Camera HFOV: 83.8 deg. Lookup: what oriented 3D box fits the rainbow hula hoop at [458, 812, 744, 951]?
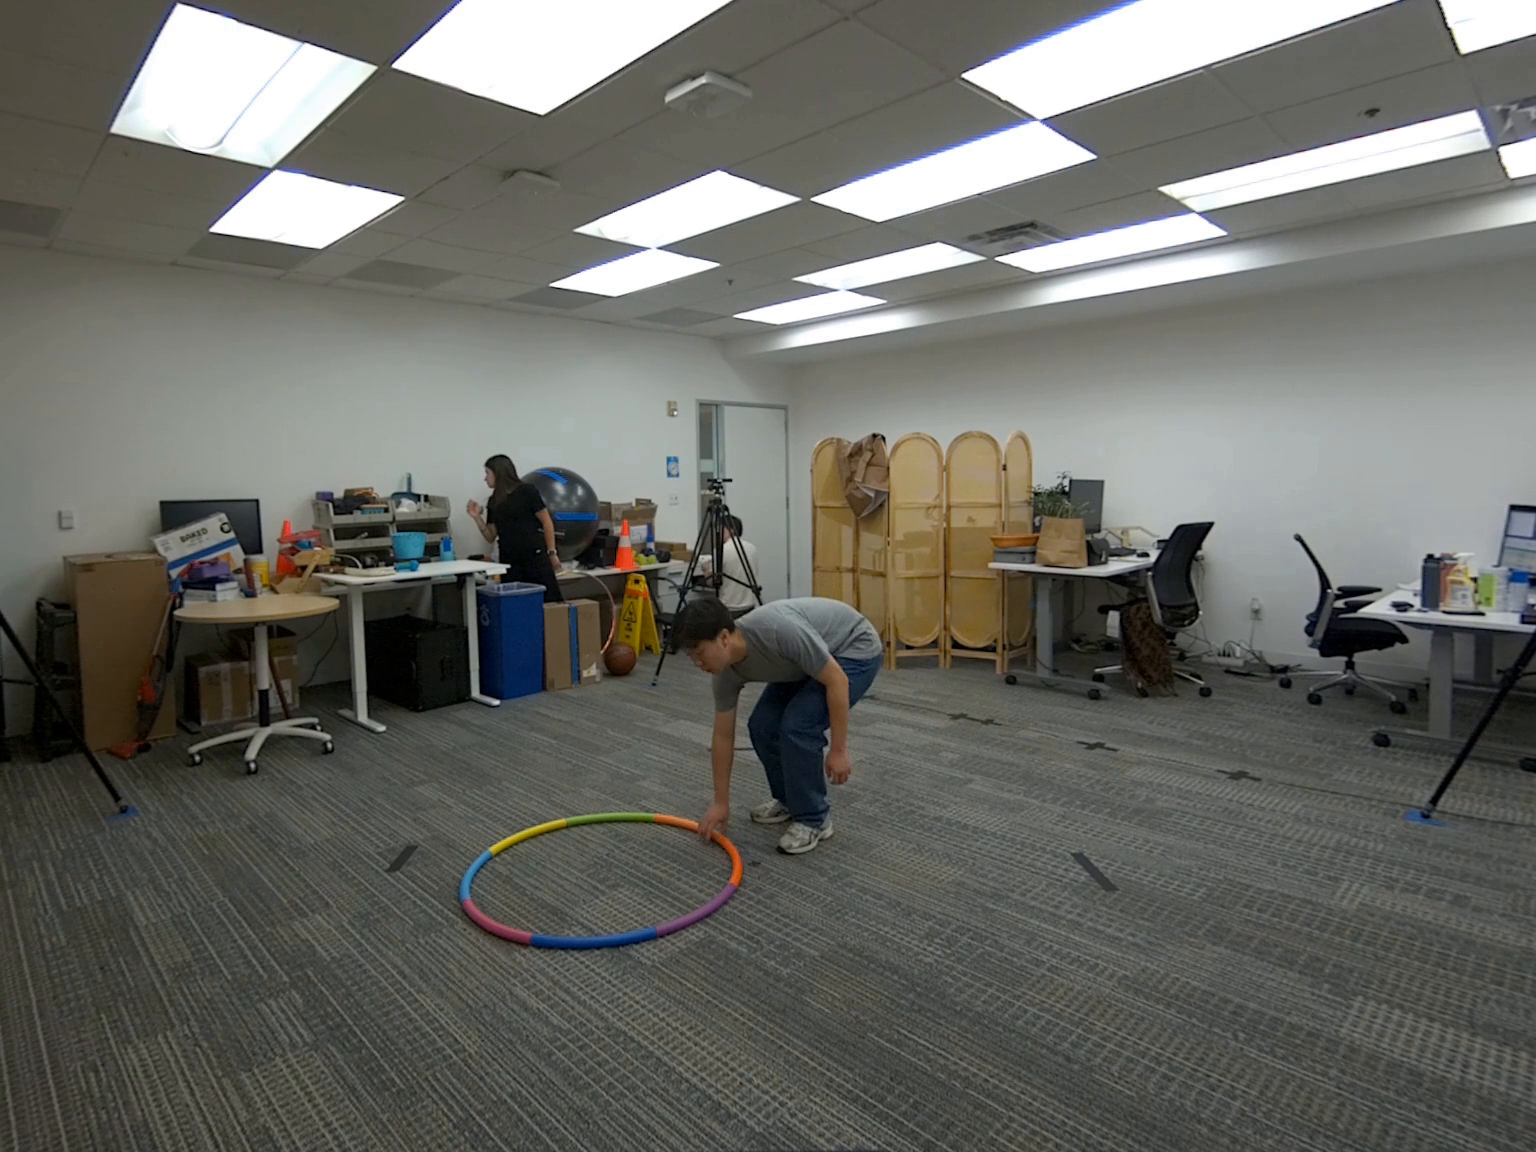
[{"bbox_3d":[-0.576,1.026,3.043,0.978,0.035,0.985,-2,7,-2],"label":"rainbow hula hoop"}]
